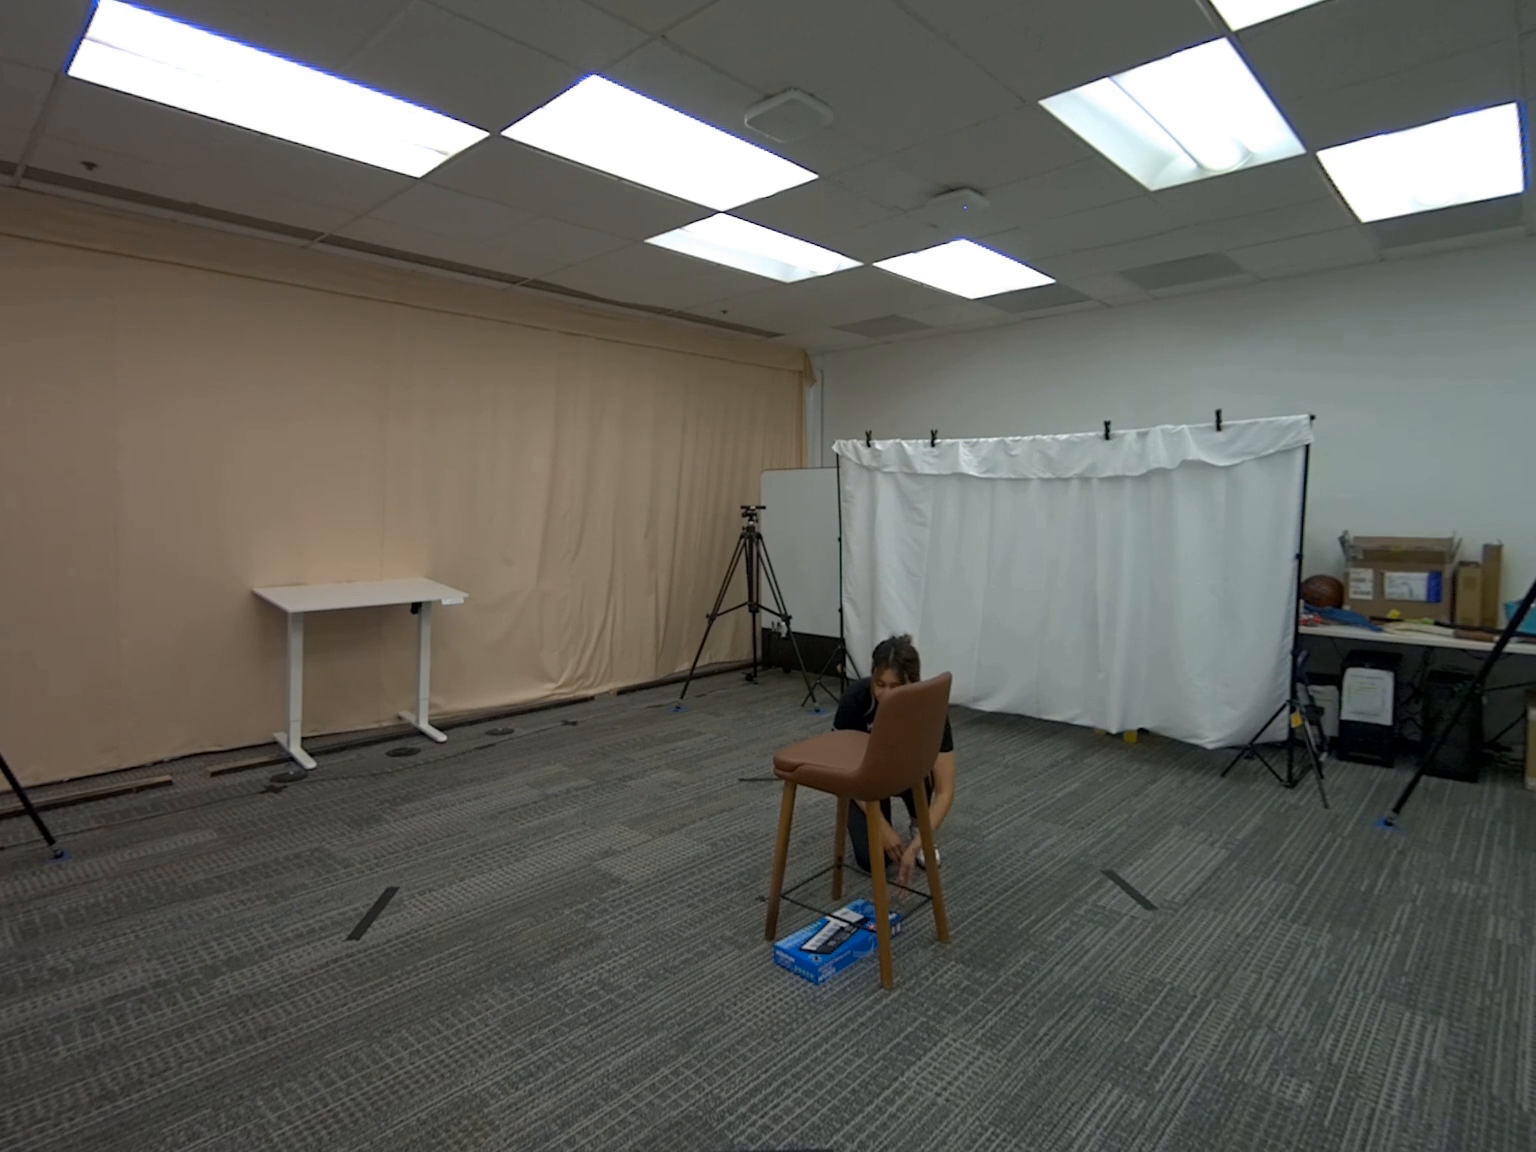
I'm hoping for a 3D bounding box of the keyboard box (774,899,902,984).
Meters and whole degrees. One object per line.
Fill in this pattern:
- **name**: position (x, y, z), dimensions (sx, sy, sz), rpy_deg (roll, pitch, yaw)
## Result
- **keyboard box**: position (0.225, 1.133, 2.654), dimensions (0.182, 0.059, 0.423), rpy_deg (4, 6, 43)
